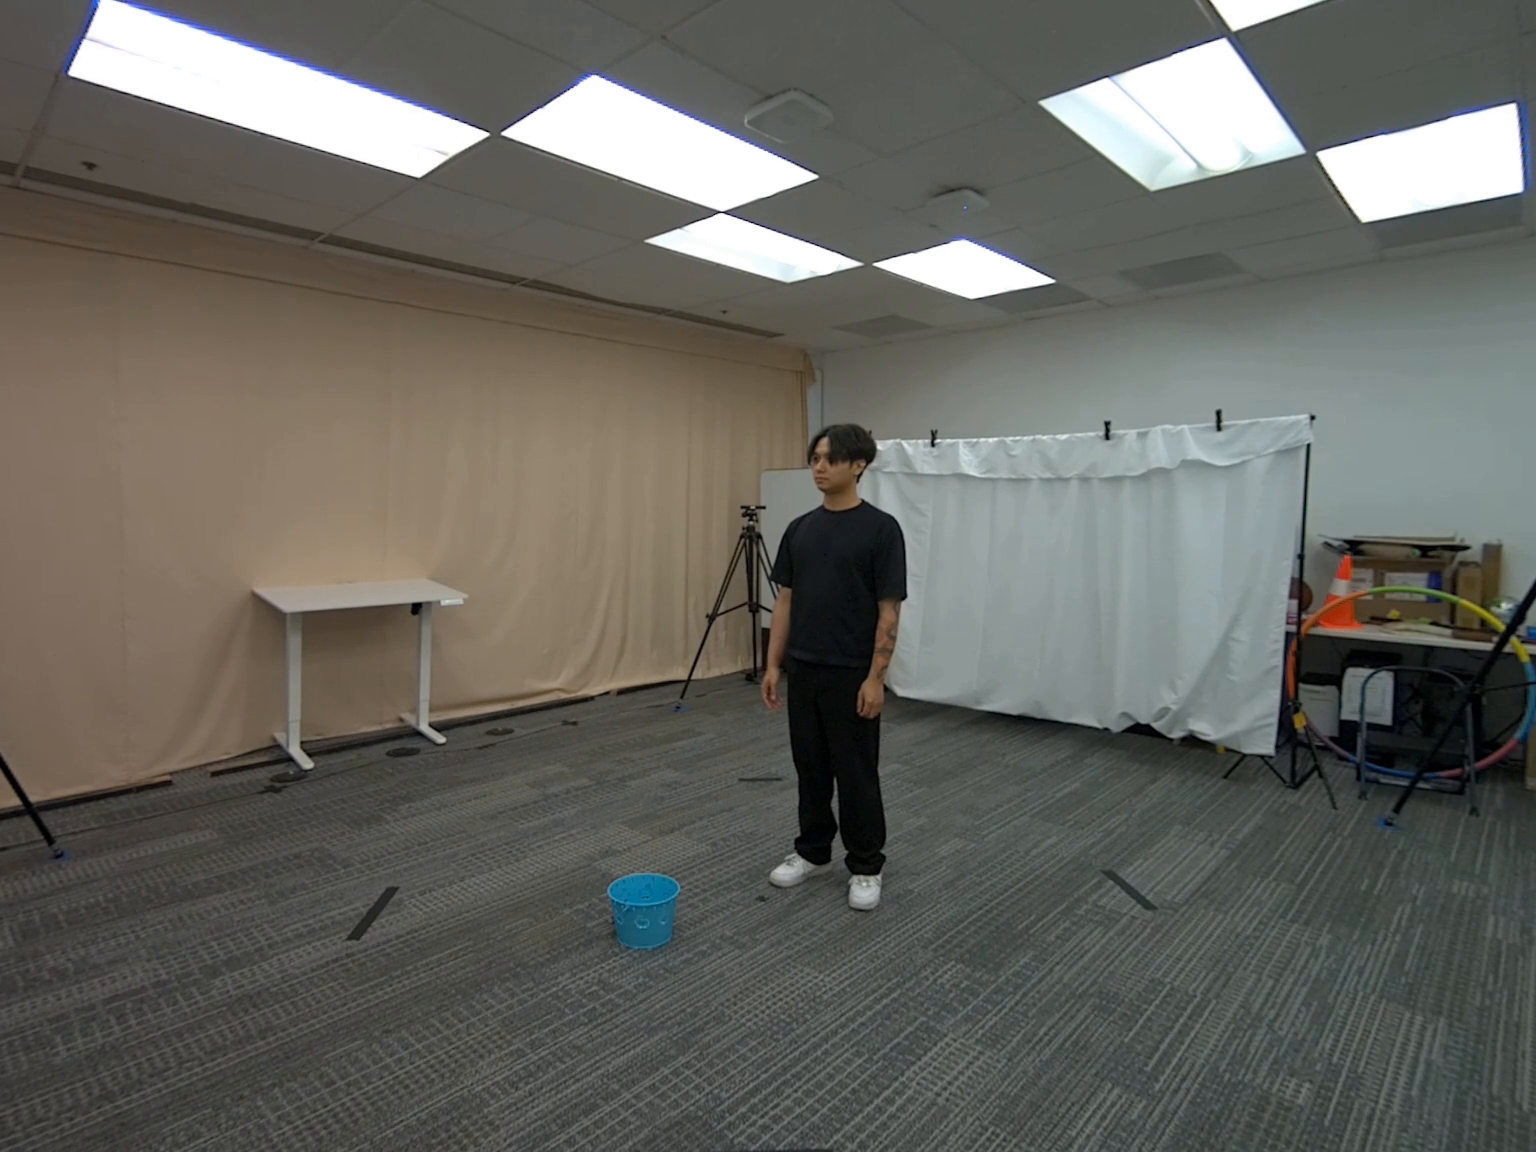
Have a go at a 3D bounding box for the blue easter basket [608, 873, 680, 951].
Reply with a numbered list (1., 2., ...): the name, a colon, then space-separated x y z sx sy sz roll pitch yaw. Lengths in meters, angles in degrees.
1. blue easter basket: -0.404 1.091 2.738 0.243 0.155 0.244 0 4 -2
